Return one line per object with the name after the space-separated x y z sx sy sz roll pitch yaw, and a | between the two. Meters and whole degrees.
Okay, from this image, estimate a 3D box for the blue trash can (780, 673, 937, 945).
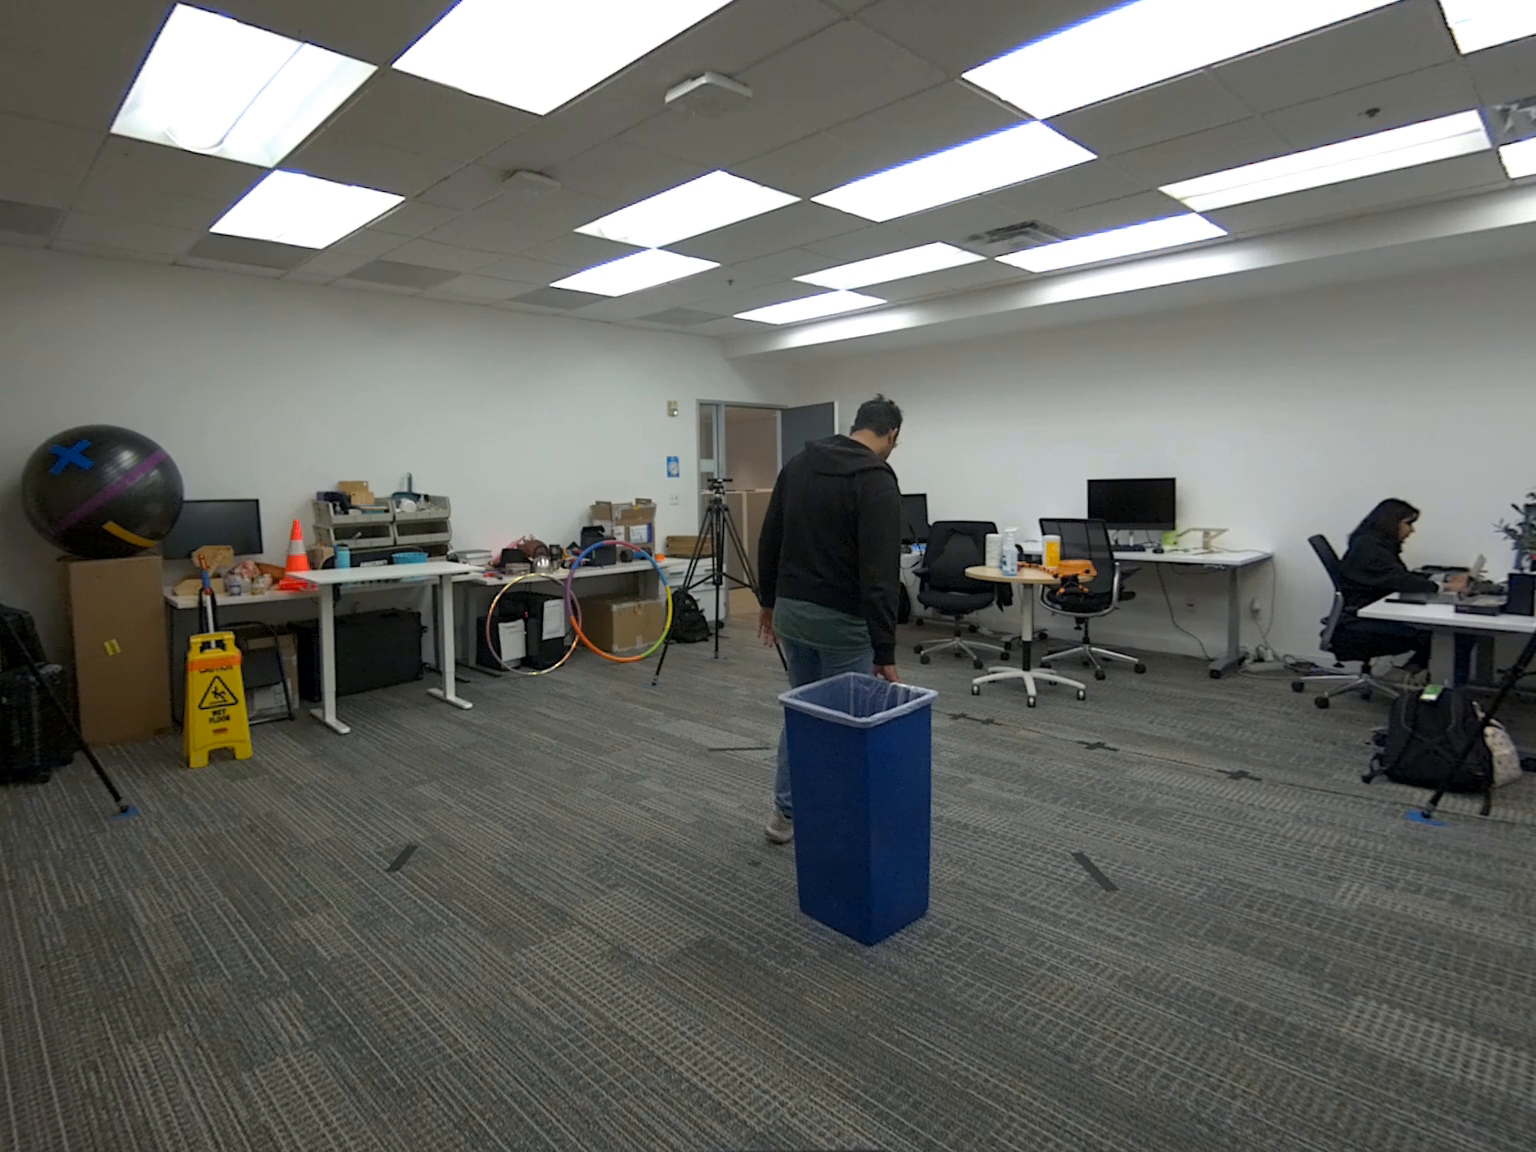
0.284 0.721 2.699 0.369 0.709 0.386 -9 9 -43 | blue trash can
